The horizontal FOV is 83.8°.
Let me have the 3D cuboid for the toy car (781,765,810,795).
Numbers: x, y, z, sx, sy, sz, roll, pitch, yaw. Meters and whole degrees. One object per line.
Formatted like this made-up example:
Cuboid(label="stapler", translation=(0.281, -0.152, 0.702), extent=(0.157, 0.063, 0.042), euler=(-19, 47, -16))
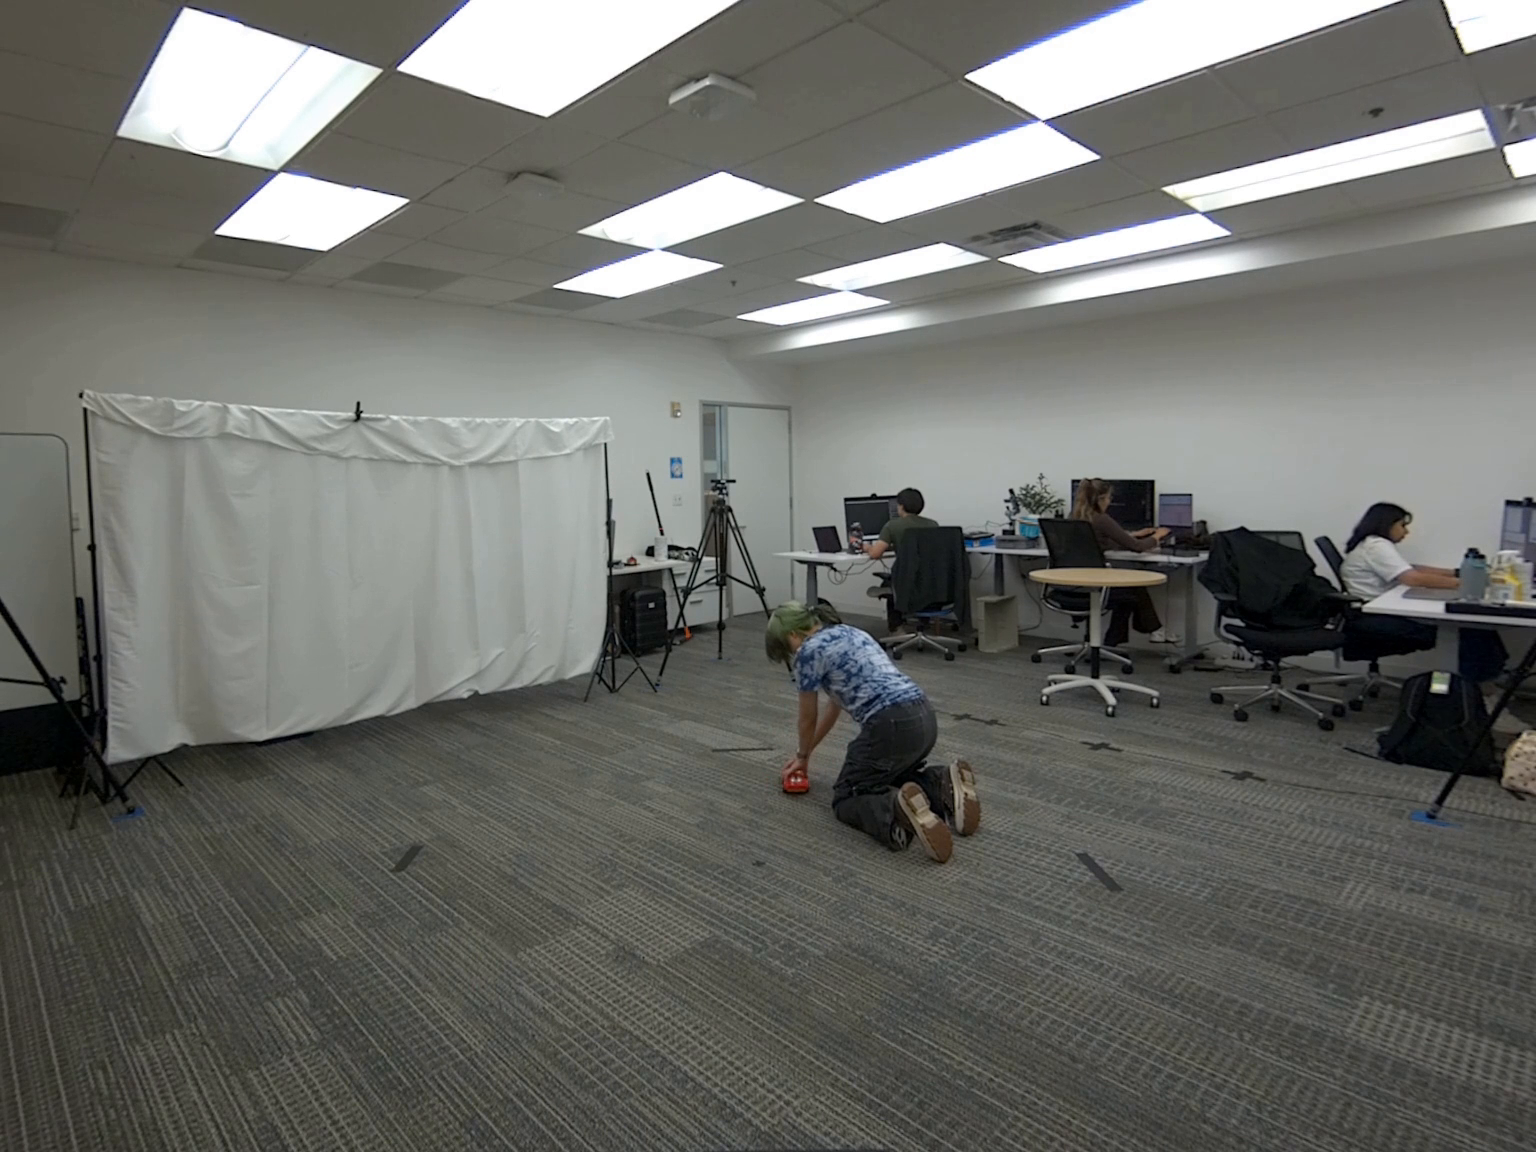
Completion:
Cuboid(label="toy car", translation=(0.122, 0.934, 3.870), extent=(0.130, 0.084, 0.253), euler=(-1, -5, -2))
